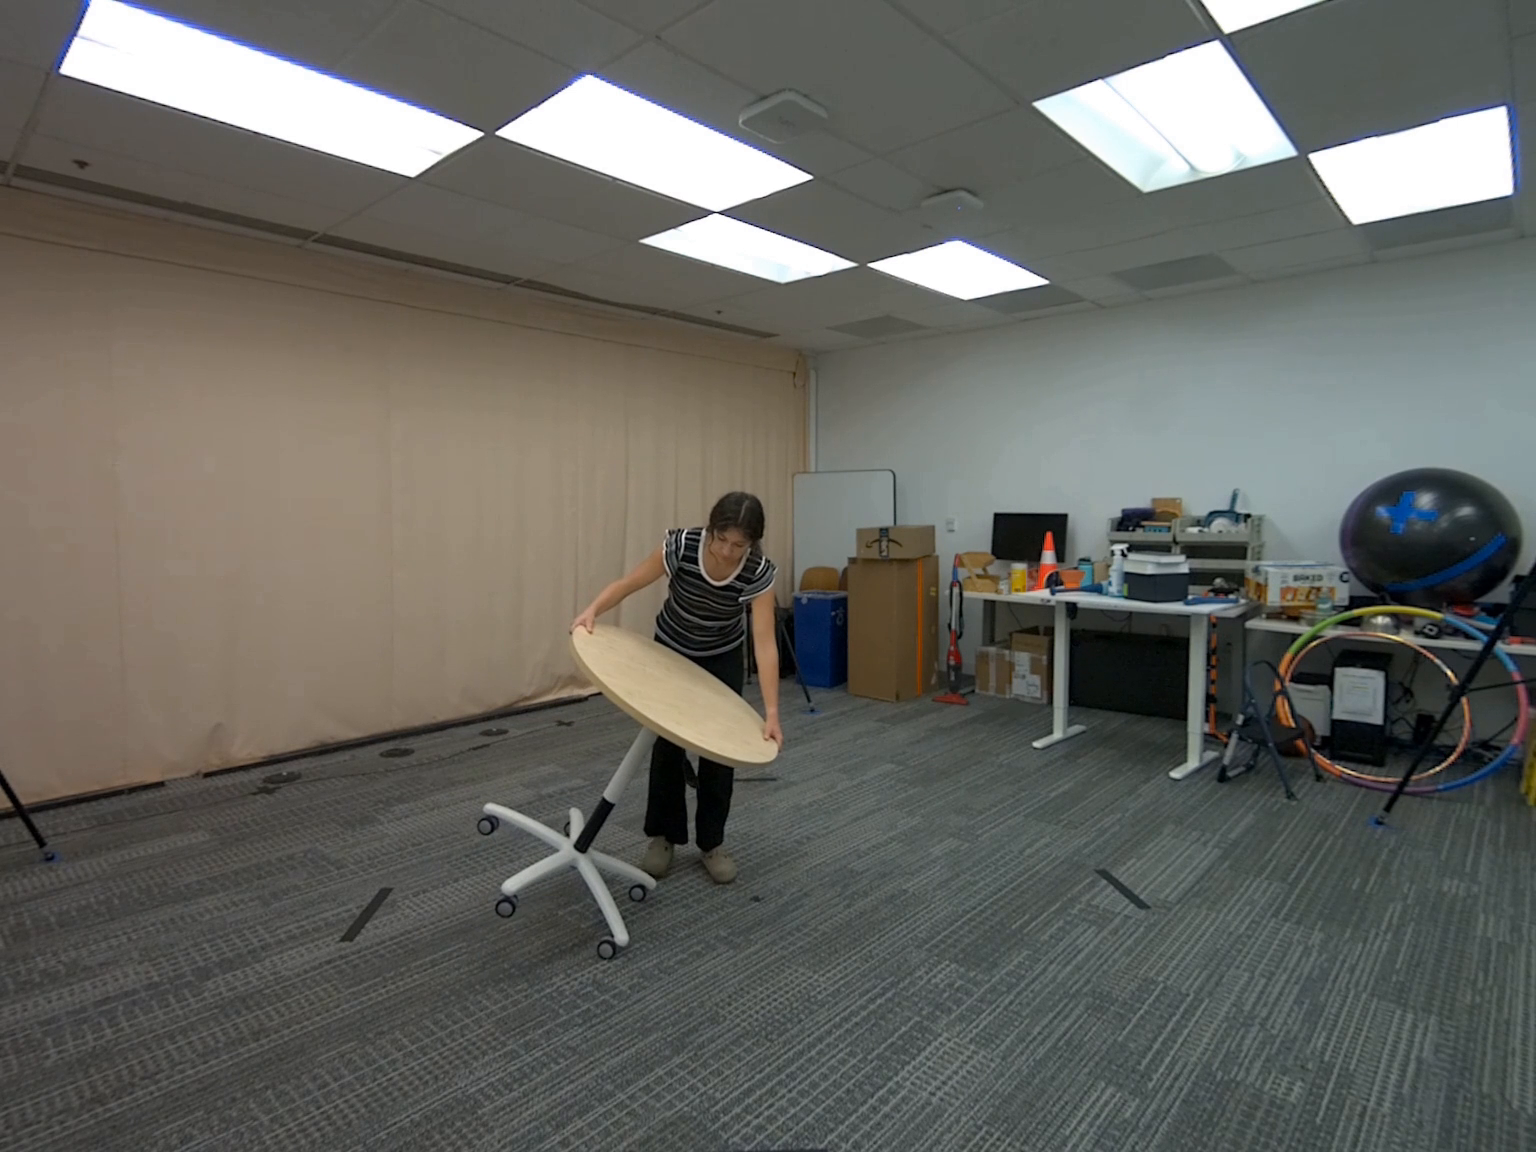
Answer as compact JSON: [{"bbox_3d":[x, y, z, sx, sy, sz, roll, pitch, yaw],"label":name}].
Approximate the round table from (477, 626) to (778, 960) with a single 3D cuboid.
[{"bbox_3d":[-0.507,0.697,2.773,0.759,0.794,0.769,29,7,-6],"label":"round table"}]
